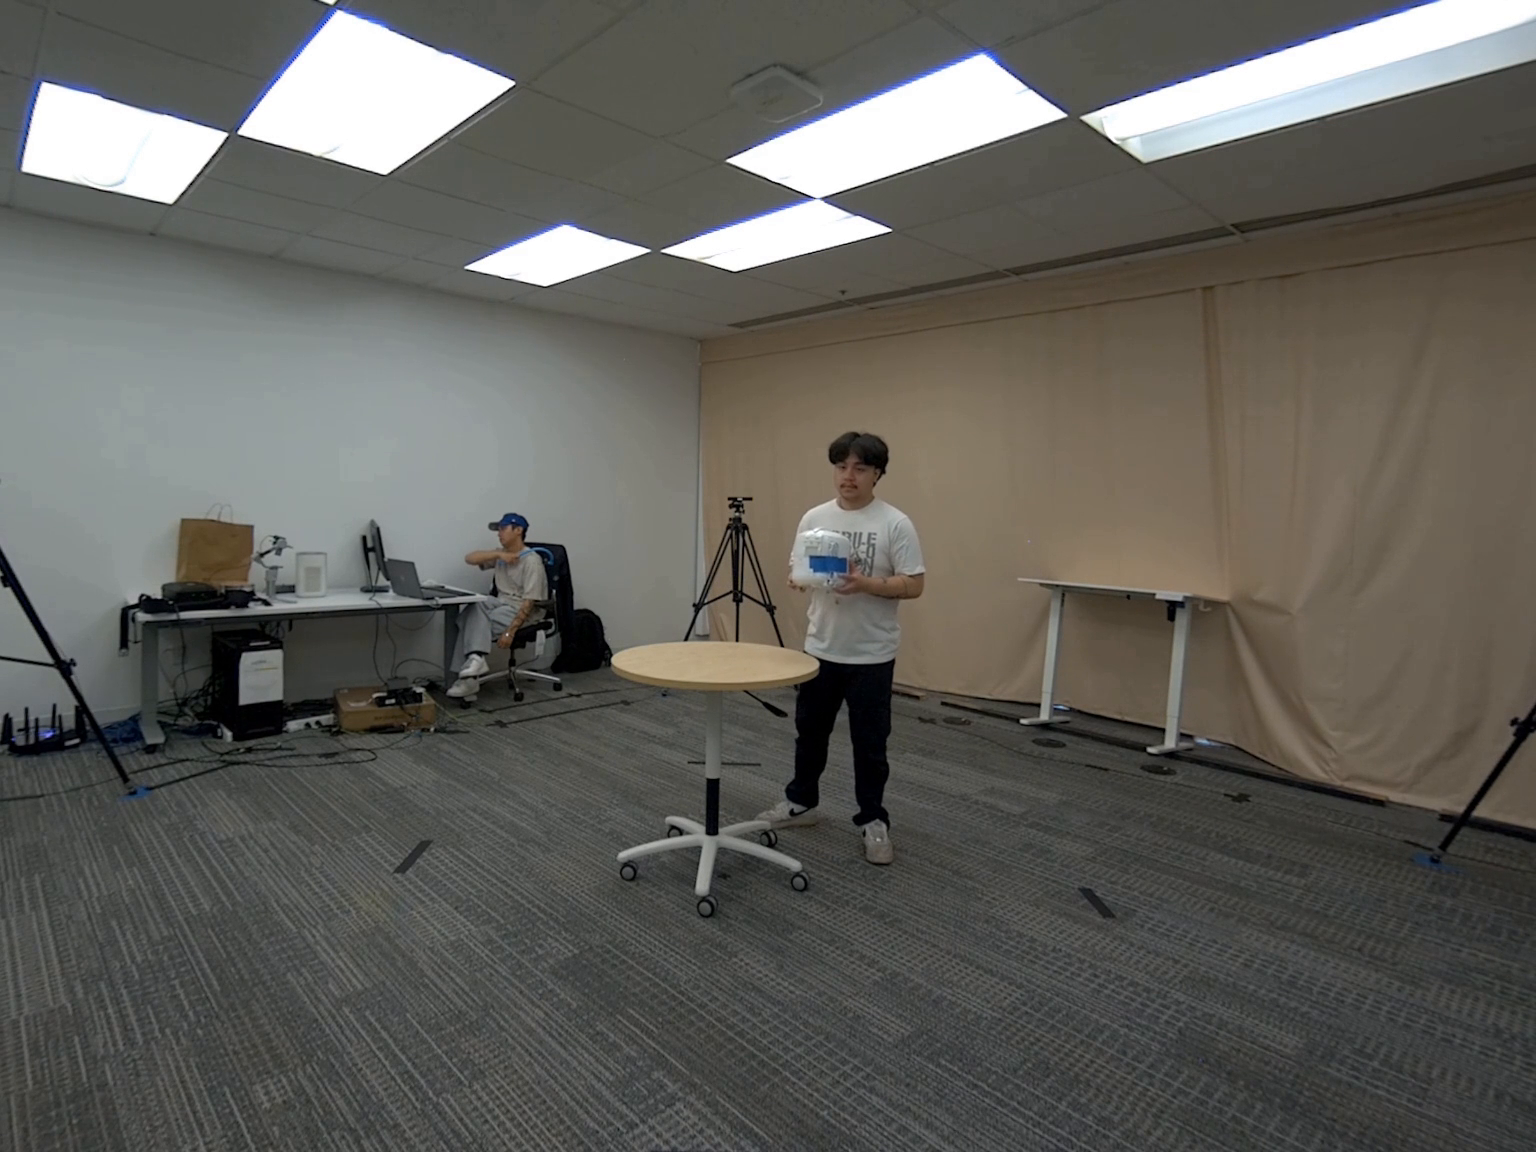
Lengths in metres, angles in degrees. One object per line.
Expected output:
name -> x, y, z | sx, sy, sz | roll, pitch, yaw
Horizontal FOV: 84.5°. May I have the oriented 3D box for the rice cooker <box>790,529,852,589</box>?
rice cooker -> 0.187, -0.069, 3.167 | 0.222, 0.234, 0.215 | 4, -7, 26
